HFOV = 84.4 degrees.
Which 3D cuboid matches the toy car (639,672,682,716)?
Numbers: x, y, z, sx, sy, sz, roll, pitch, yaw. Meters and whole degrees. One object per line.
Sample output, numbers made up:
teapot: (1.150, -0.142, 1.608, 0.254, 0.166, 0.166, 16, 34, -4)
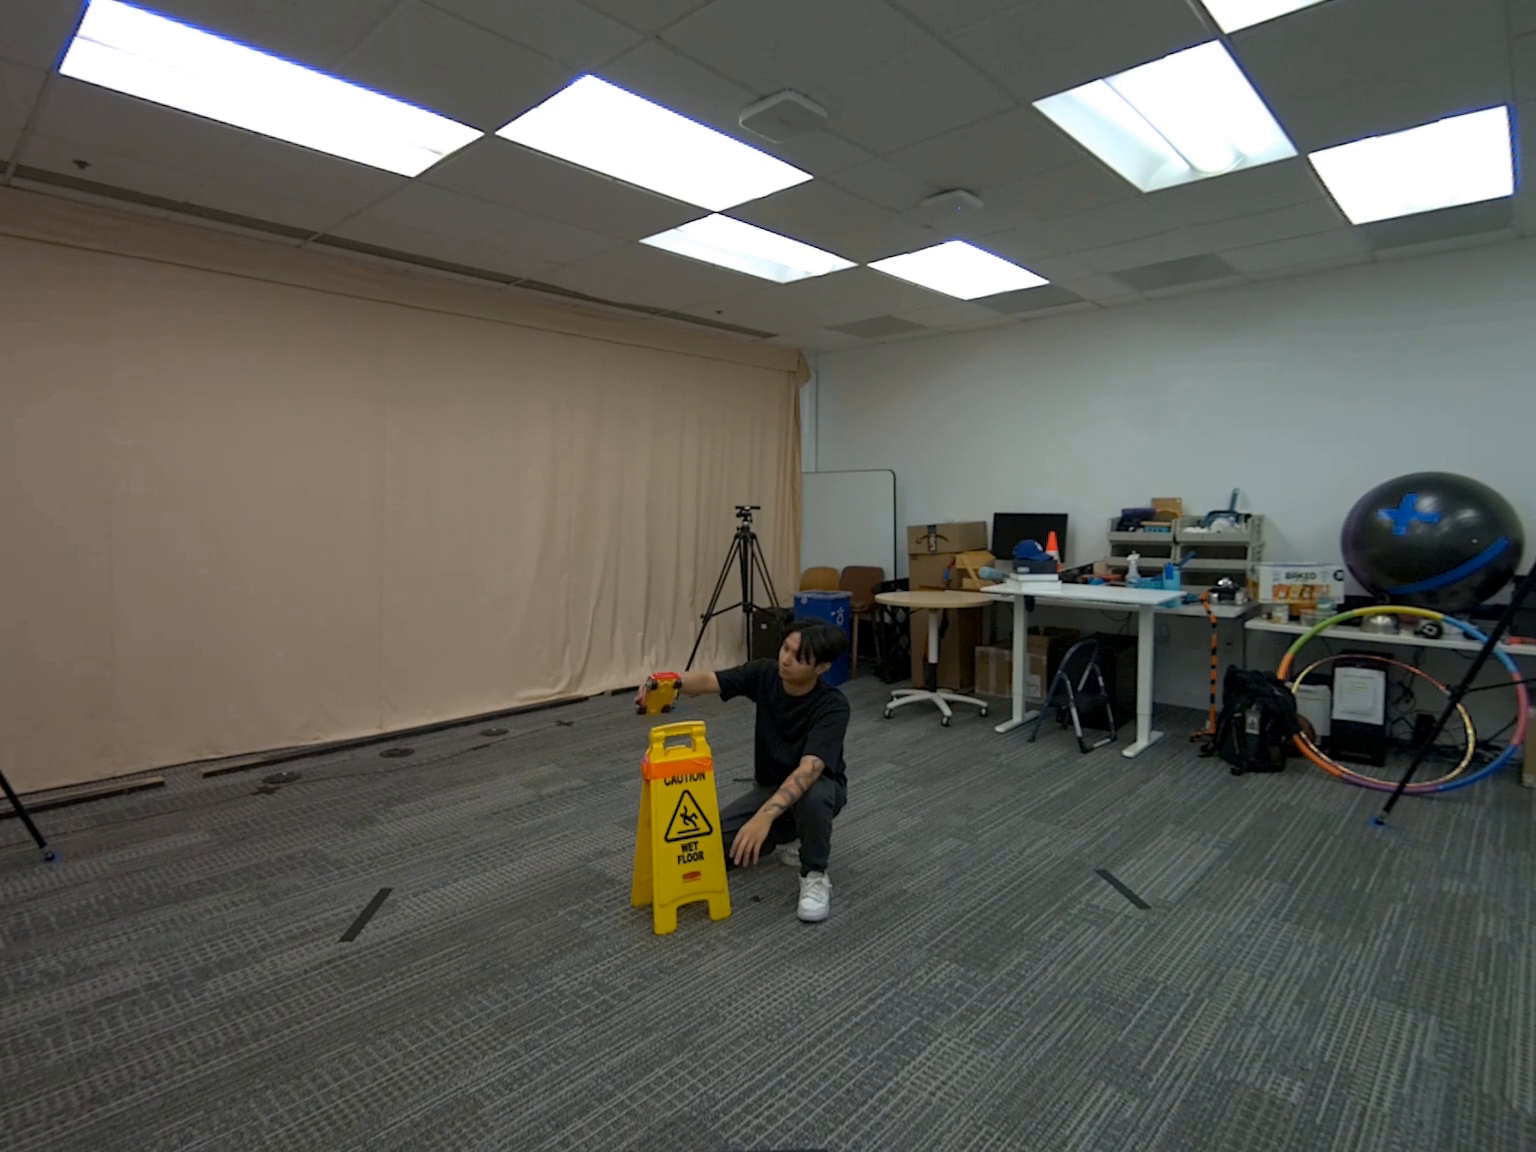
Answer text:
toy car: (-0.373, 0.422, 2.854, 0.127, 0.085, 0.255, -1, -30, -24)
